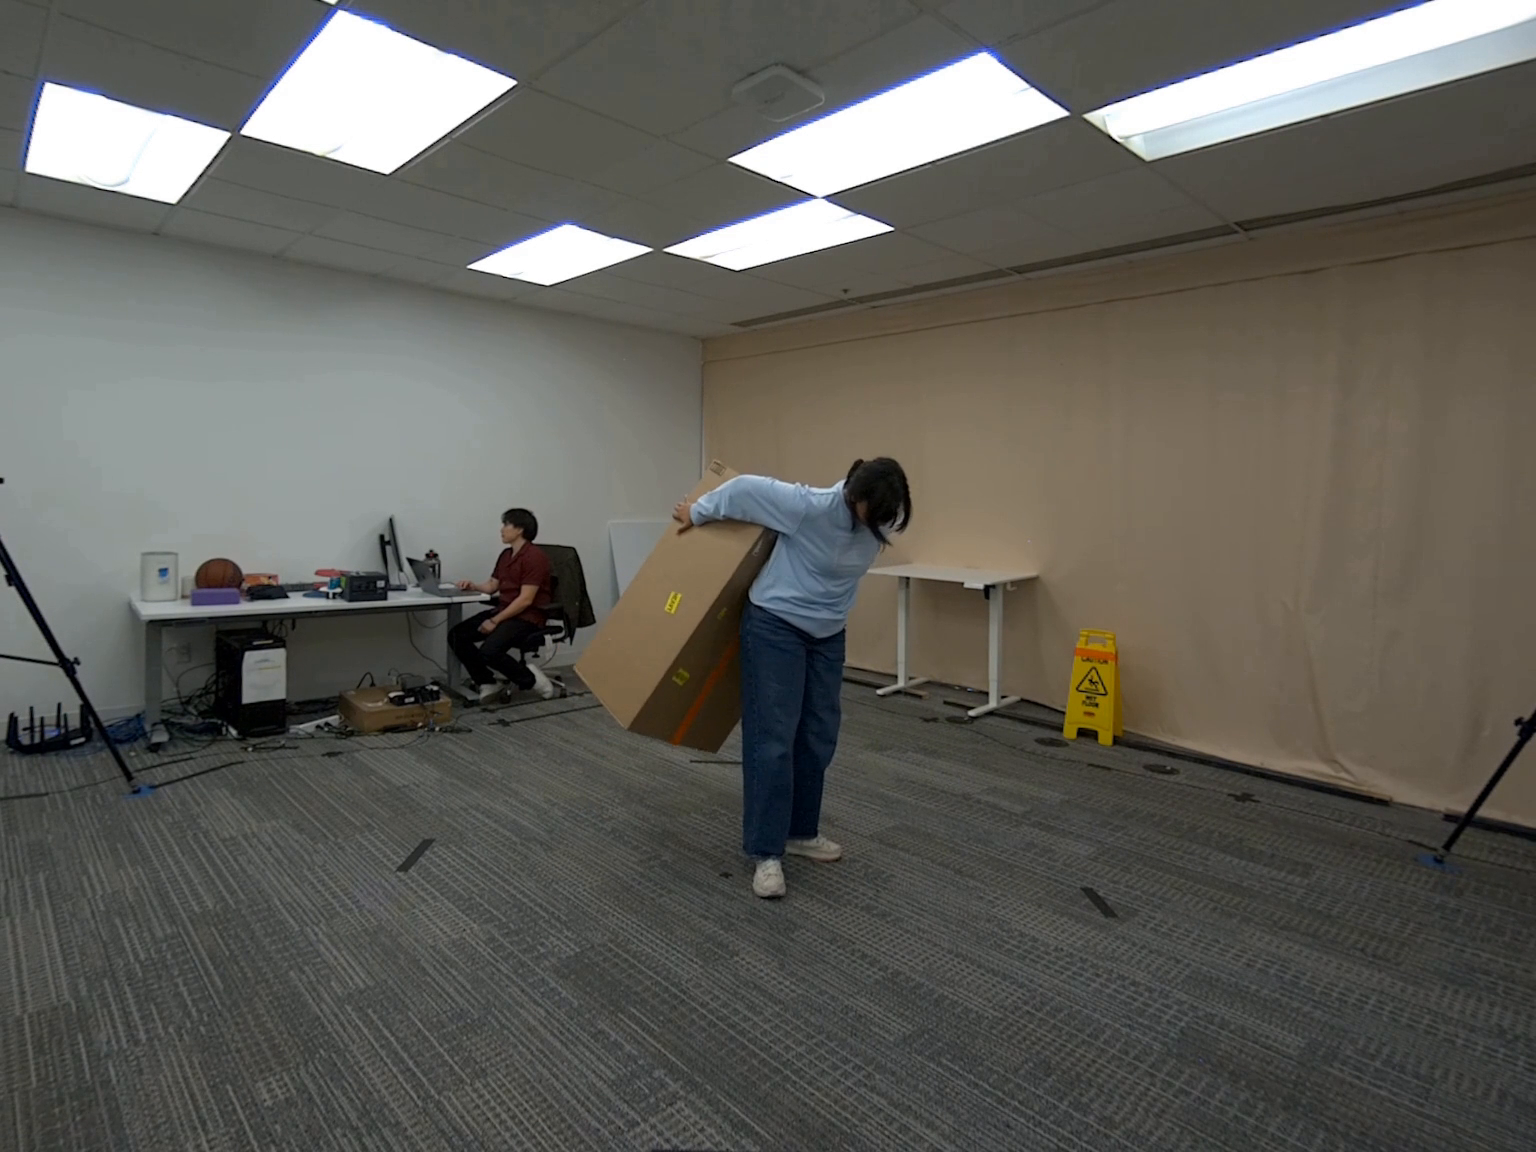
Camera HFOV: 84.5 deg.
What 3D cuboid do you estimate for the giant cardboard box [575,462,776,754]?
[{"bbox_3d":[-0.223,0.149,3.418,0.440,1.025,0.559,37,4,40],"label":"giant cardboard box"}]
